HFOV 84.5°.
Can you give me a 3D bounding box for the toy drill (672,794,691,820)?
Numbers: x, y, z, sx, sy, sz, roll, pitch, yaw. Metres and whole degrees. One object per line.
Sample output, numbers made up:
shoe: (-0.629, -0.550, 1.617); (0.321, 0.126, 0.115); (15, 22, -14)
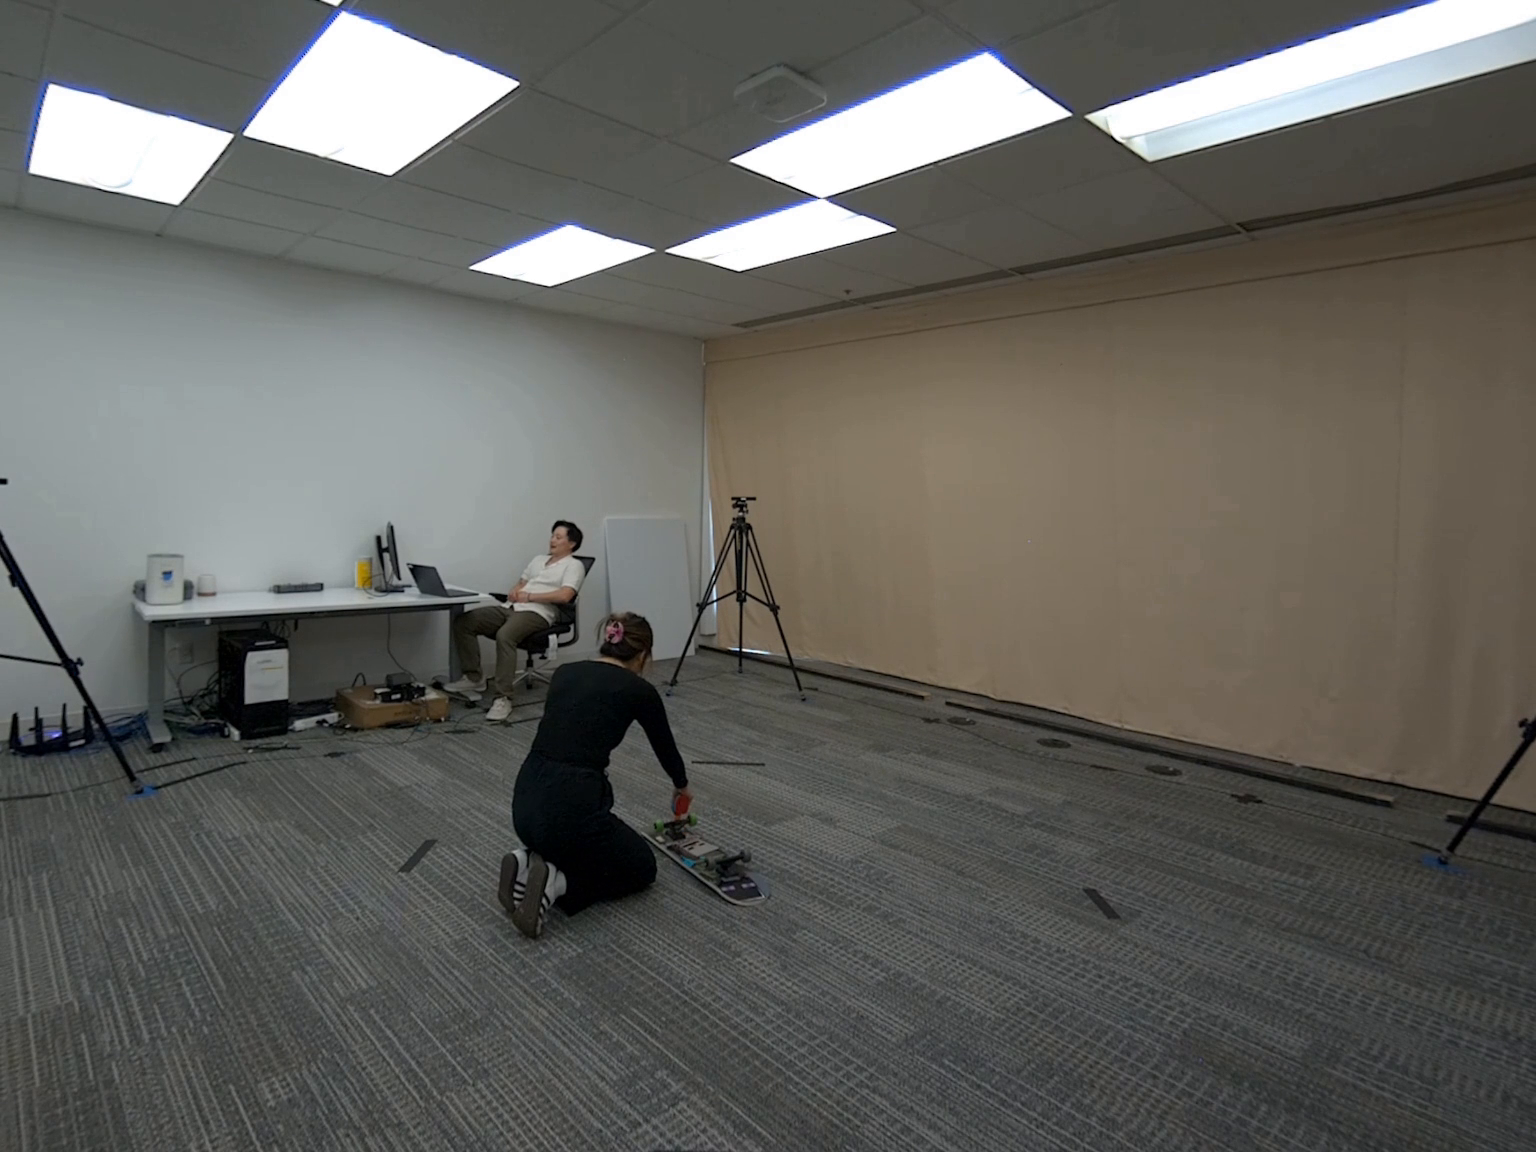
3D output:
toy drill: (-0.364, 0.947, 3.383); (0.061, 0.169, 0.147); (6, 5, -6)
